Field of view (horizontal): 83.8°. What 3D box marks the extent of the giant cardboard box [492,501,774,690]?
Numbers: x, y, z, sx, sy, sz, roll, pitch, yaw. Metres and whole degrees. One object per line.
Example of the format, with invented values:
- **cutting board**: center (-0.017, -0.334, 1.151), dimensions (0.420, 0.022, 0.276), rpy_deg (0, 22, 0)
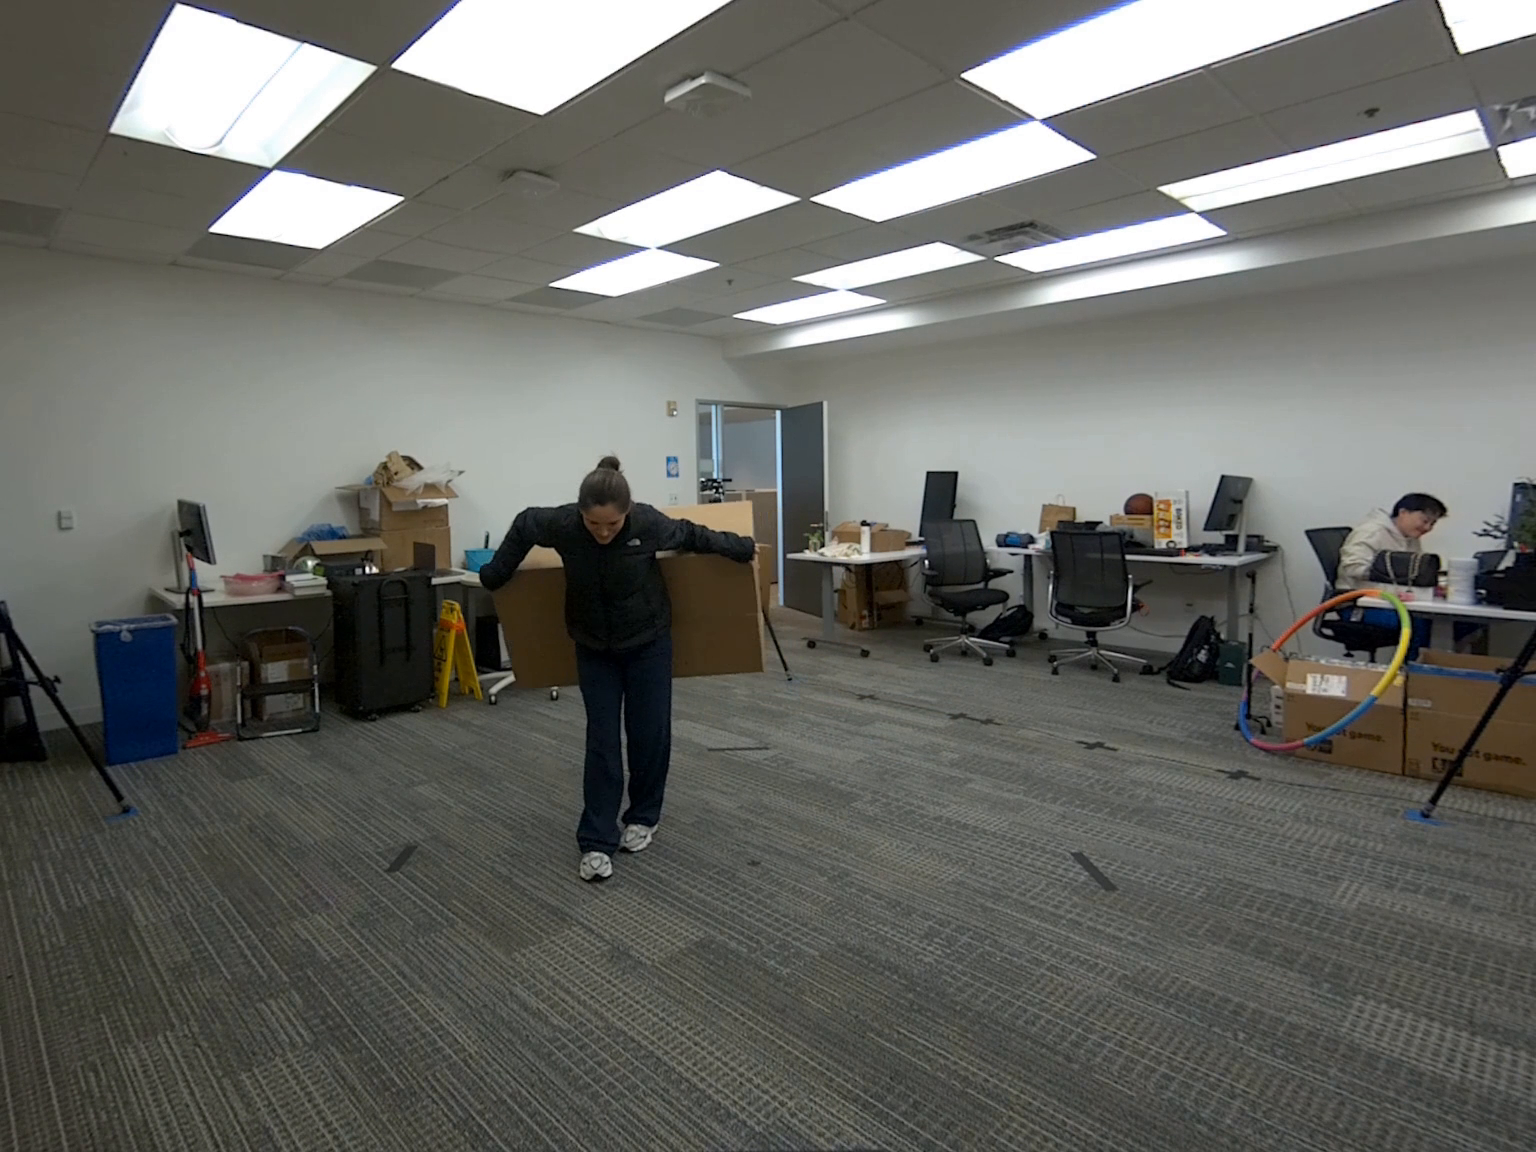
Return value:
- **giant cardboard box**: center (-0.549, 0.073, 3.541), dimensions (1.030, 0.562, 0.436), rpy_deg (-4, 31, 4)
